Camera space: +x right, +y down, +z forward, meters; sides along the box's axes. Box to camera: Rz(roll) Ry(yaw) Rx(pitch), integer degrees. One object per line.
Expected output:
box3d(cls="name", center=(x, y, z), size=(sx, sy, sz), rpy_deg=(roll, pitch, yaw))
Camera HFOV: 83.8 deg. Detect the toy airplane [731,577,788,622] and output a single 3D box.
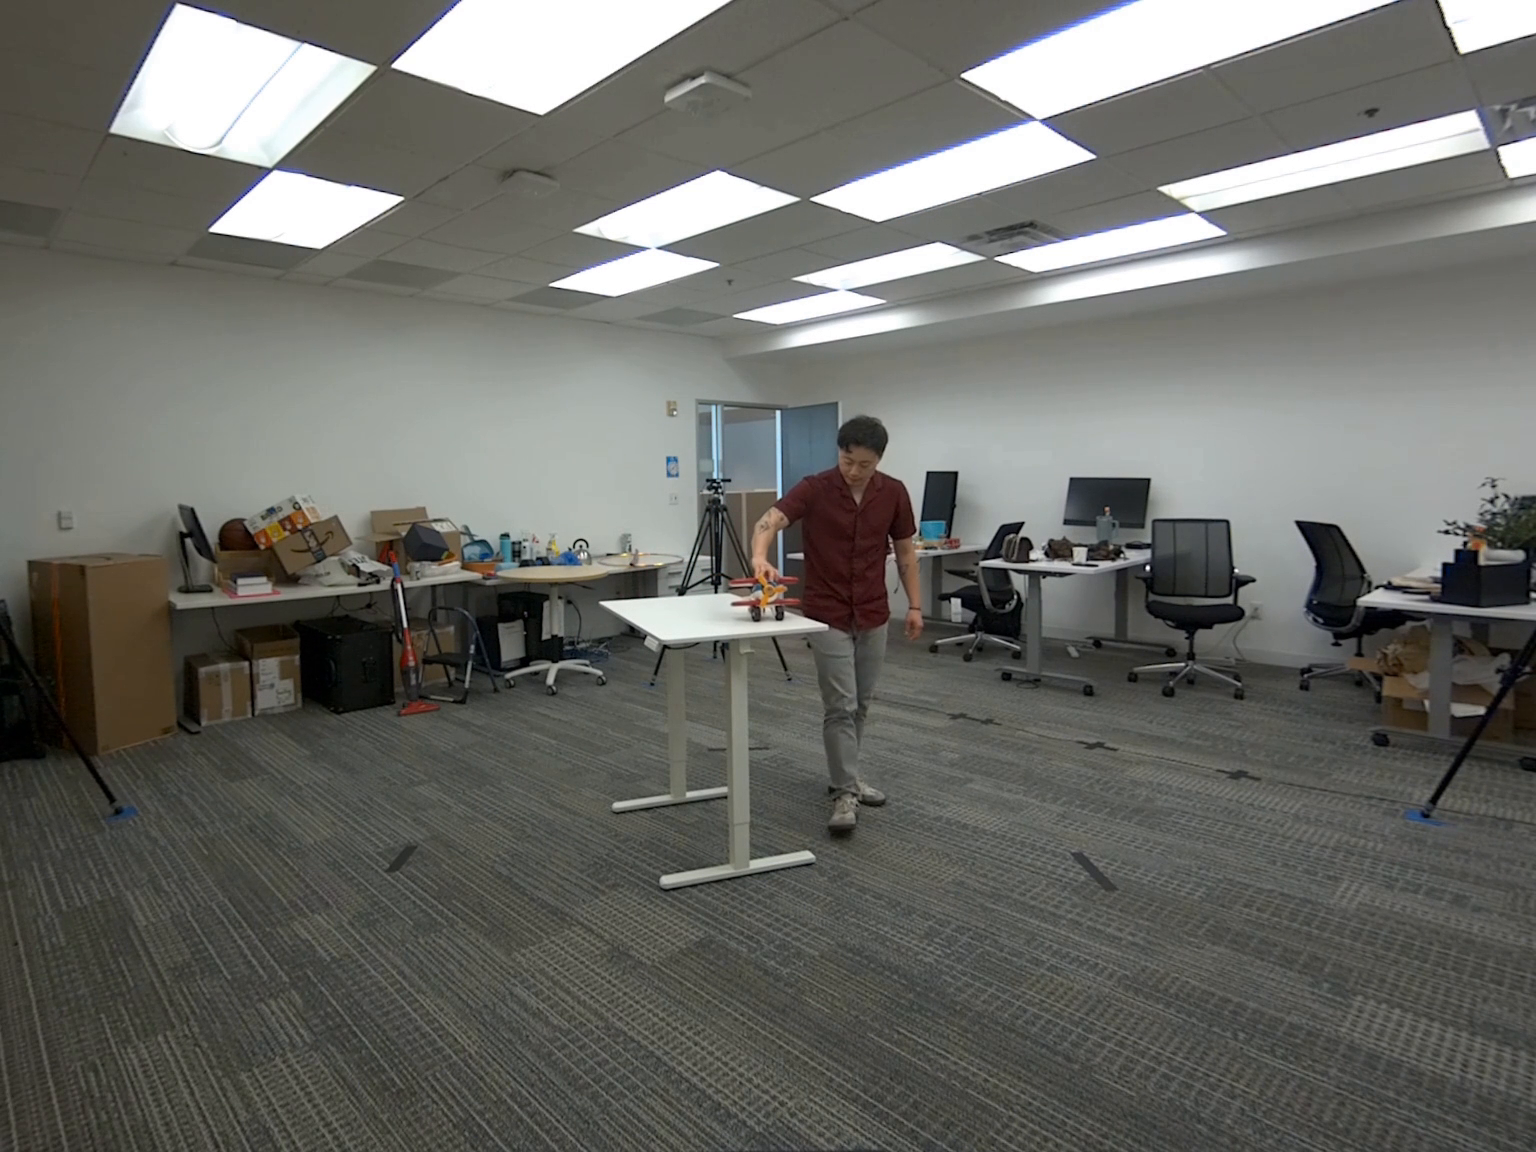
box3d(cls="toy airplane", center=(-0.032, 0.078, 3.164), size=(0.245, 0.155, 0.267), rpy_deg=(-5, 8, -37))
